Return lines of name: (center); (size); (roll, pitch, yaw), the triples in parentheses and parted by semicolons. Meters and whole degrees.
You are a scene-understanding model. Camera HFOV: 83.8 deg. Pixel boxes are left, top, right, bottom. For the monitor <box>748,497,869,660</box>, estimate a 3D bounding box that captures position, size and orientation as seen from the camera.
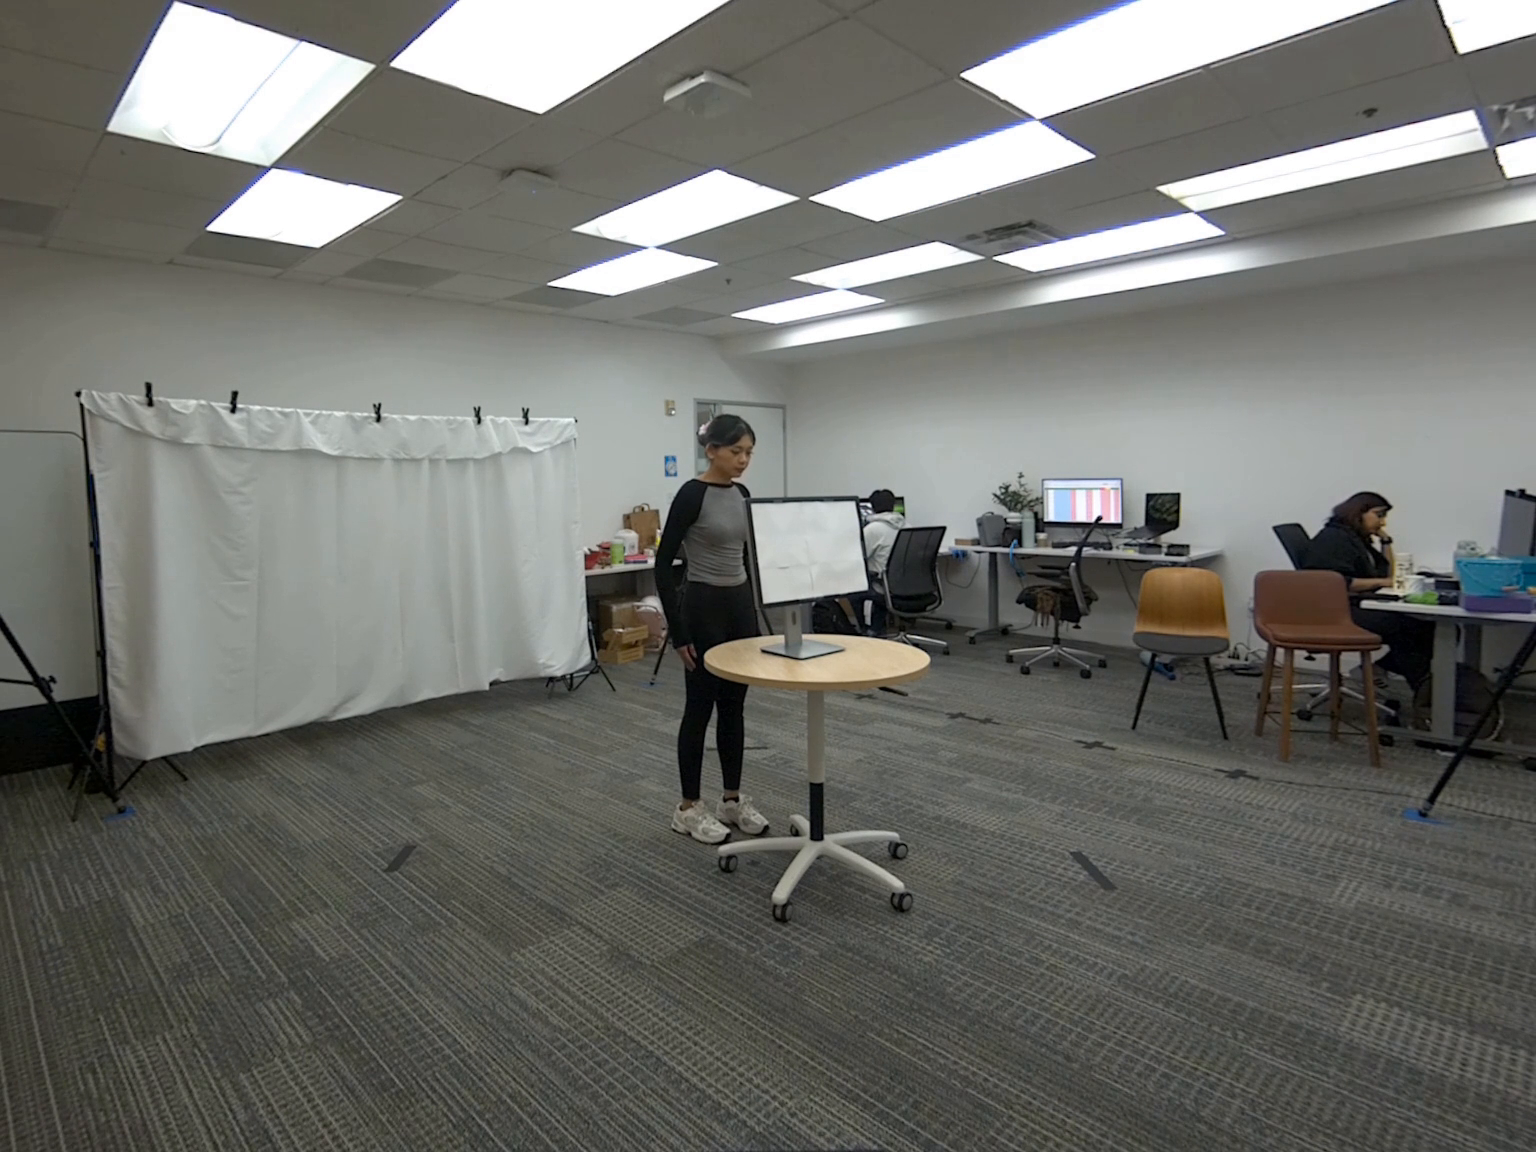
monitor: (0.124, -0.001, 2.985); (0.525, 0.520, 0.193); (-5, 8, -44)
